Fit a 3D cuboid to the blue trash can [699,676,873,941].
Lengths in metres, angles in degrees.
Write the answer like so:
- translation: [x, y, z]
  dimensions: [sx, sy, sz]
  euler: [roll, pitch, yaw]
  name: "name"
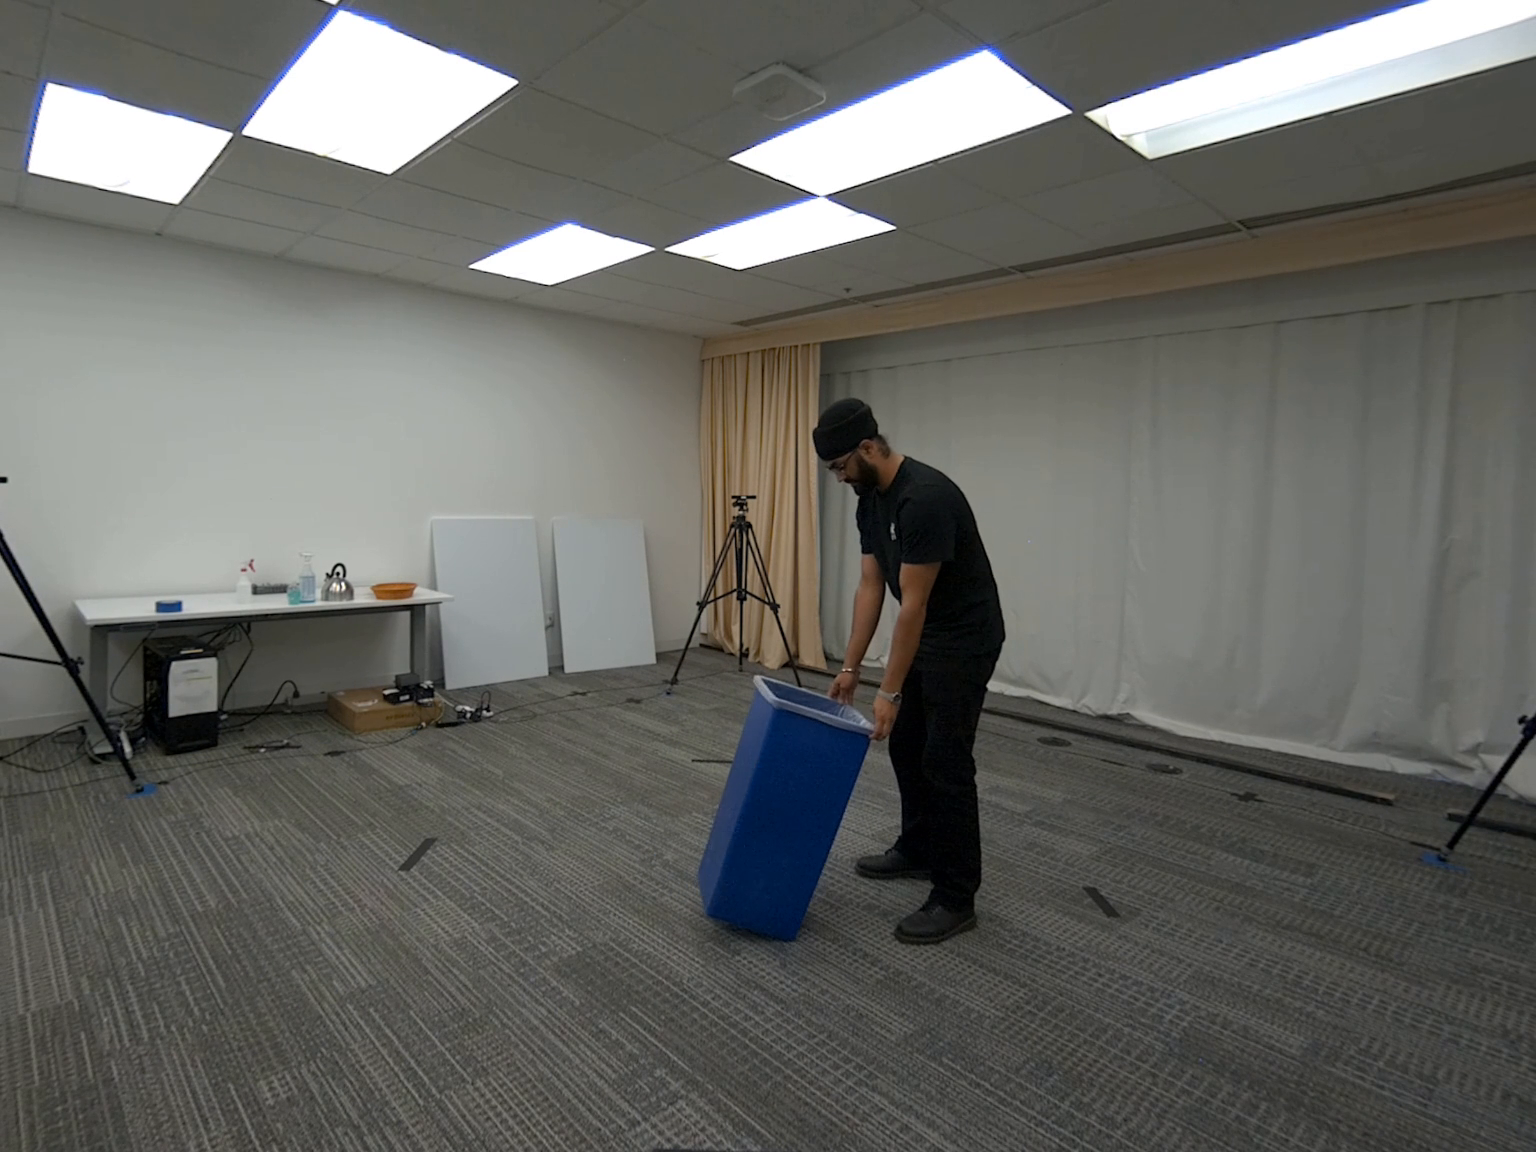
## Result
- translation: [0.039, 0.750, 2.763]
  dimensions: [0.370, 0.713, 0.382]
  euler: [18, 0, -11]
  name: "blue trash can"
